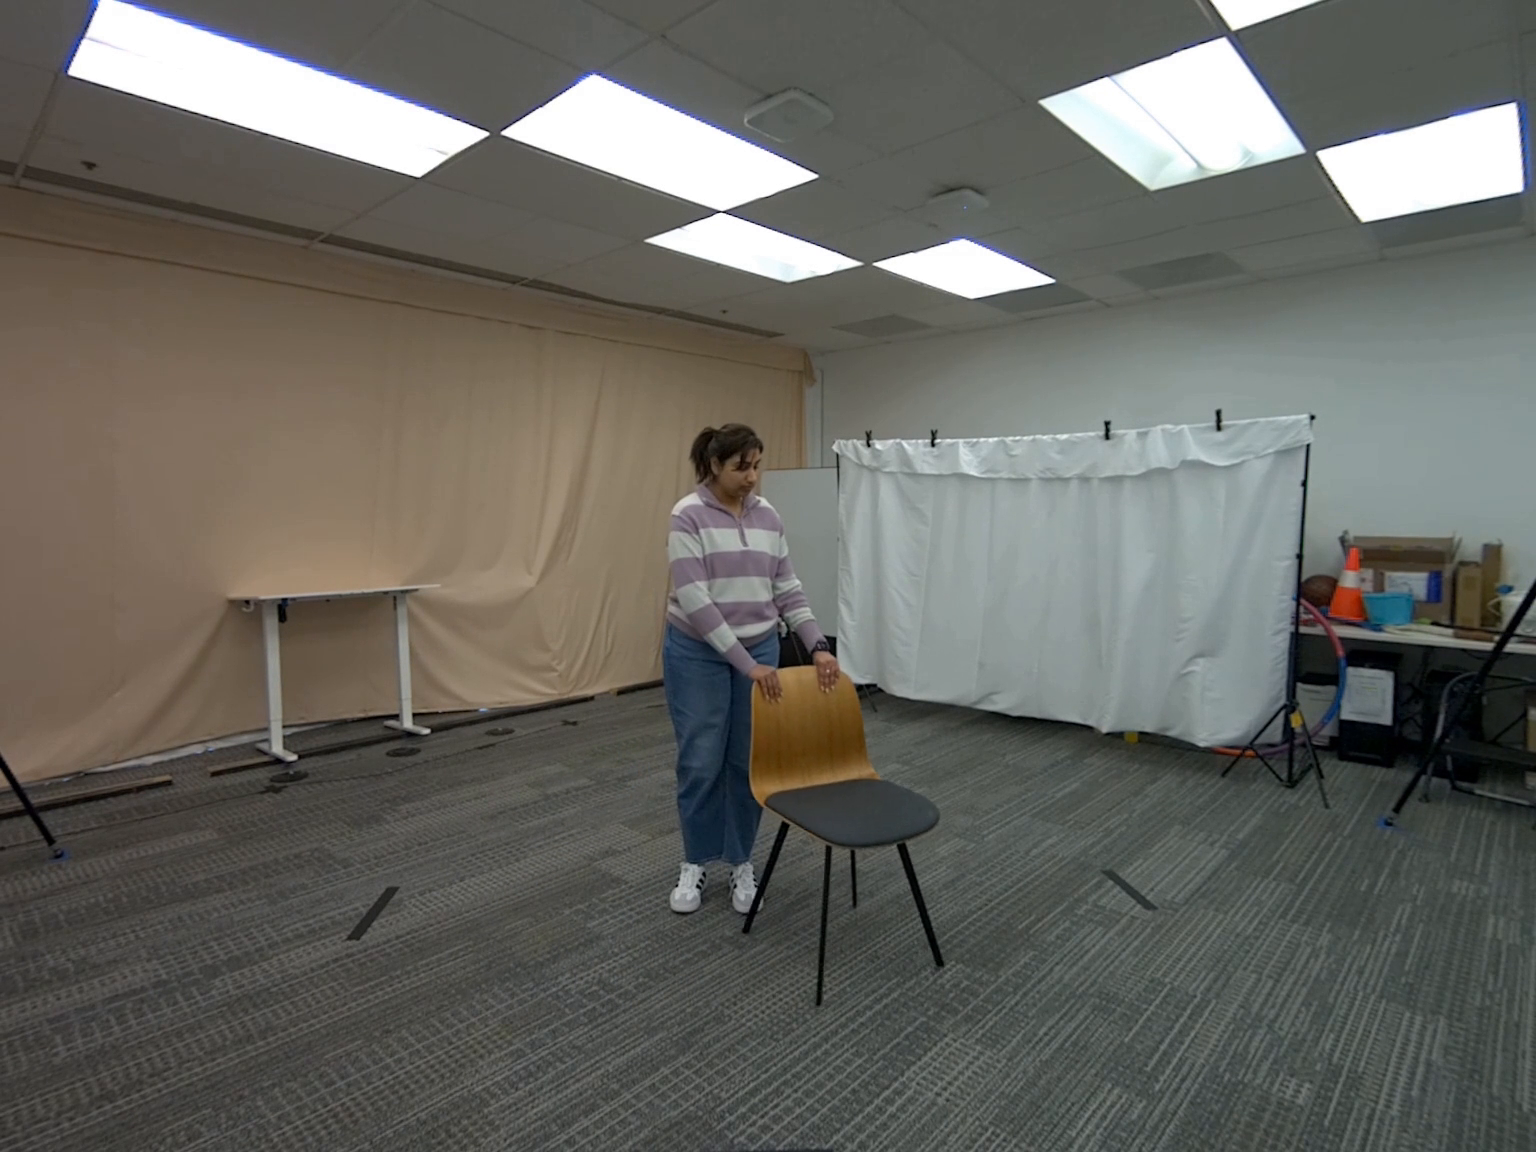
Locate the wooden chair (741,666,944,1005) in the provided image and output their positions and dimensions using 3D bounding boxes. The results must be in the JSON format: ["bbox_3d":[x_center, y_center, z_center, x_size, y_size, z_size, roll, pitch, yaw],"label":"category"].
[{"bbox_3d":[0.231,0.747,2.605,0.466,0.878,0.536,-2,-1,-28],"label":"wooden chair"}]
